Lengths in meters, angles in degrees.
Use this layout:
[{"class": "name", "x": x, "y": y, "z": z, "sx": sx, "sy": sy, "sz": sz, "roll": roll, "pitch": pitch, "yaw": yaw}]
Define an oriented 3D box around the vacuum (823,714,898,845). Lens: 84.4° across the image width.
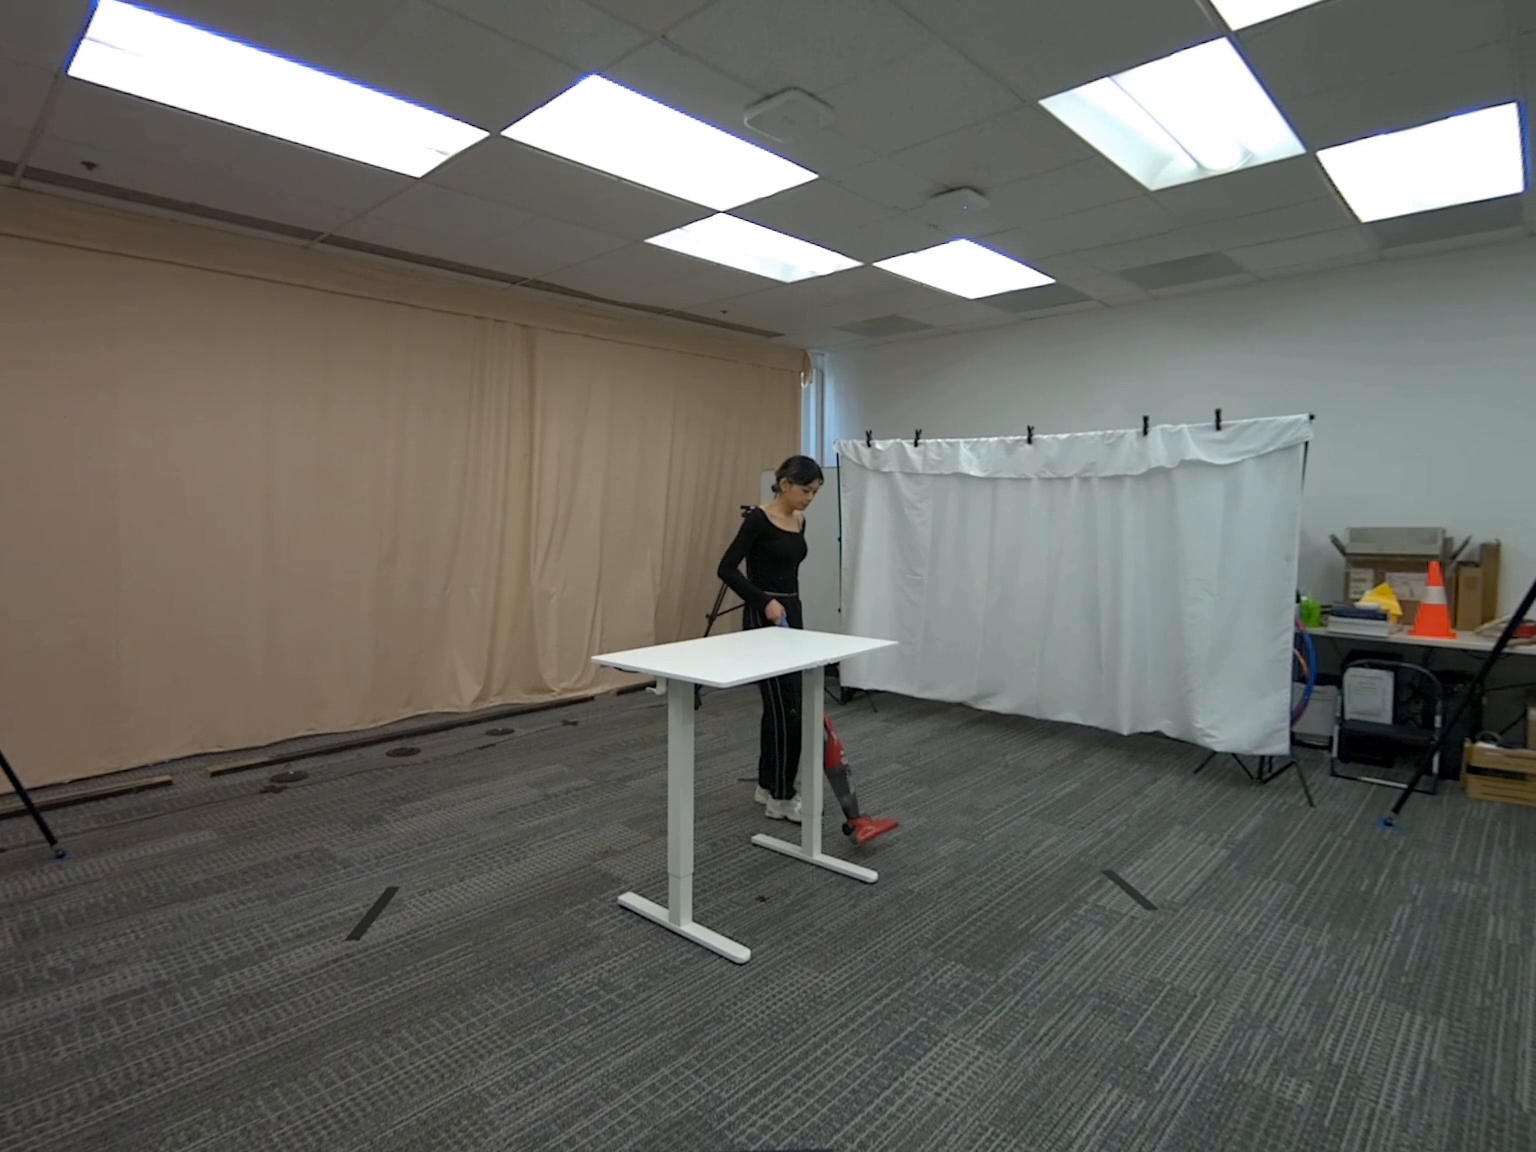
[{"class": "vacuum", "x": 0.208, "y": 0.575, "z": 3.561, "sx": 0.245, "sy": 1.067, "sz": 0.146, "roll": -6, "pitch": -24, "yaw": -44}]
